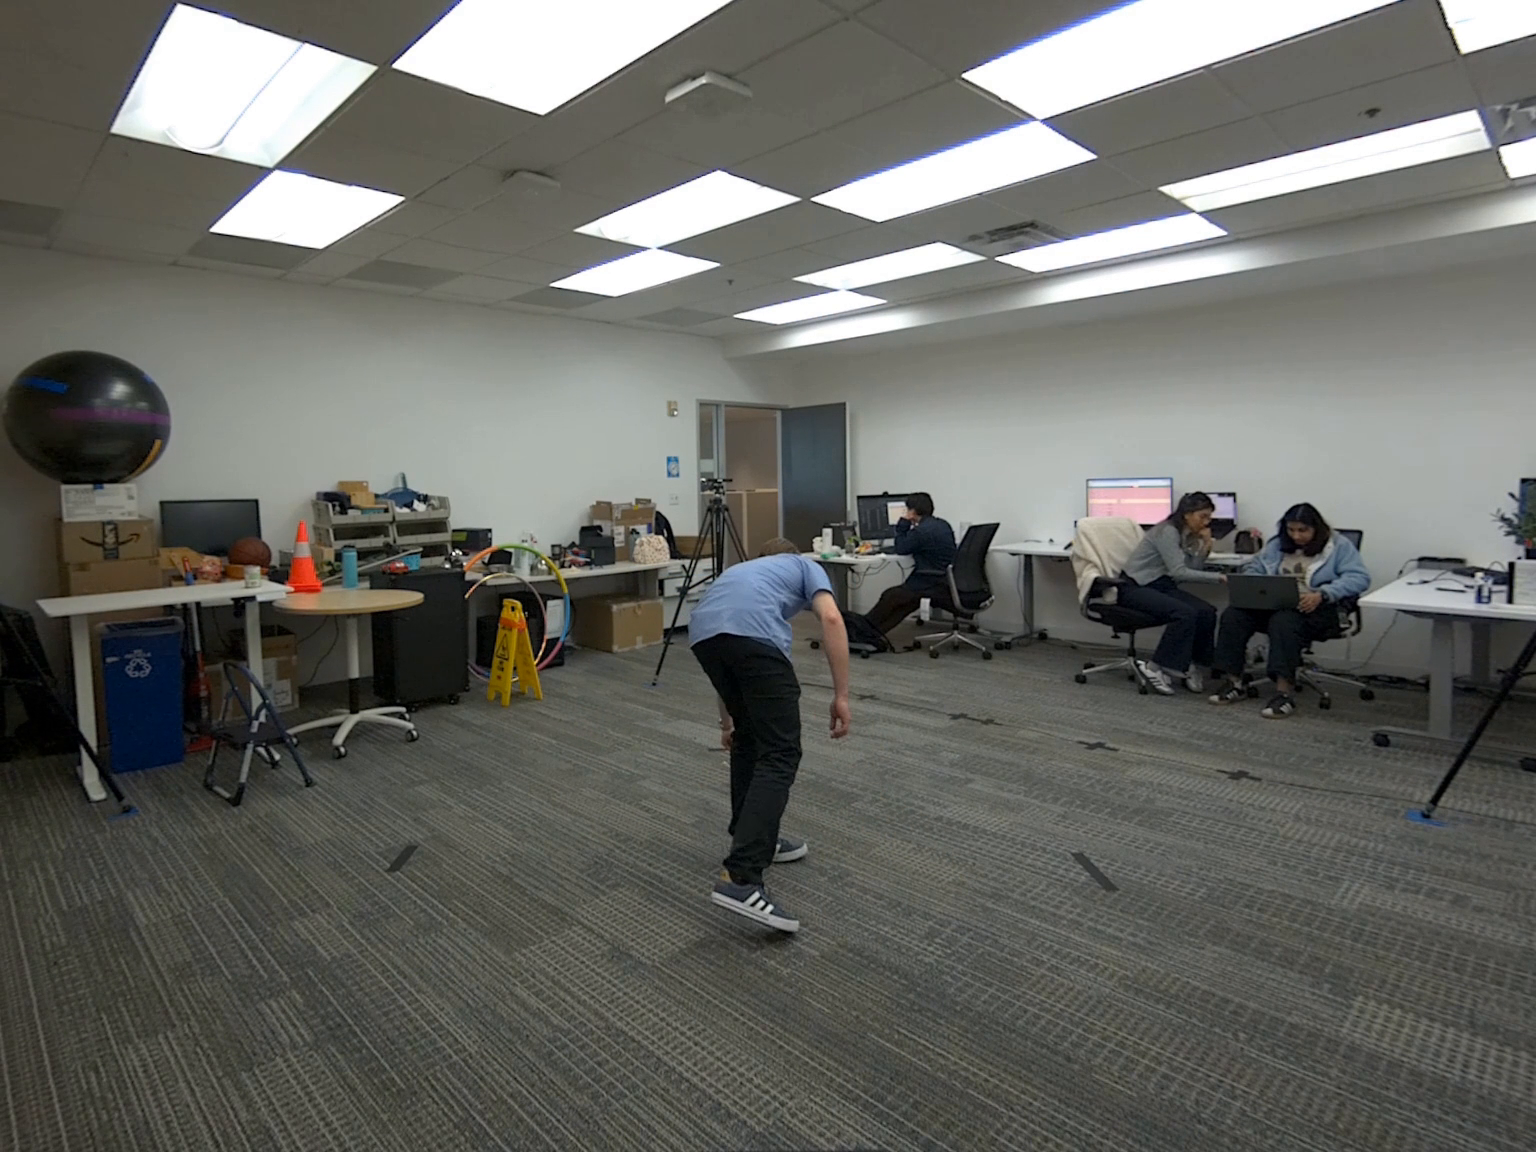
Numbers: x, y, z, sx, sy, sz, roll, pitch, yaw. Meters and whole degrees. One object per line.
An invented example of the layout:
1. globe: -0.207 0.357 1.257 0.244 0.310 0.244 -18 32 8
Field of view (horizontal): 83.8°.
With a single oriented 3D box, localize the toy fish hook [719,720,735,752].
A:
1. toy fish hook: -0.127 0.809 3.742 0.229 0.049 0.488 1 -36 21
